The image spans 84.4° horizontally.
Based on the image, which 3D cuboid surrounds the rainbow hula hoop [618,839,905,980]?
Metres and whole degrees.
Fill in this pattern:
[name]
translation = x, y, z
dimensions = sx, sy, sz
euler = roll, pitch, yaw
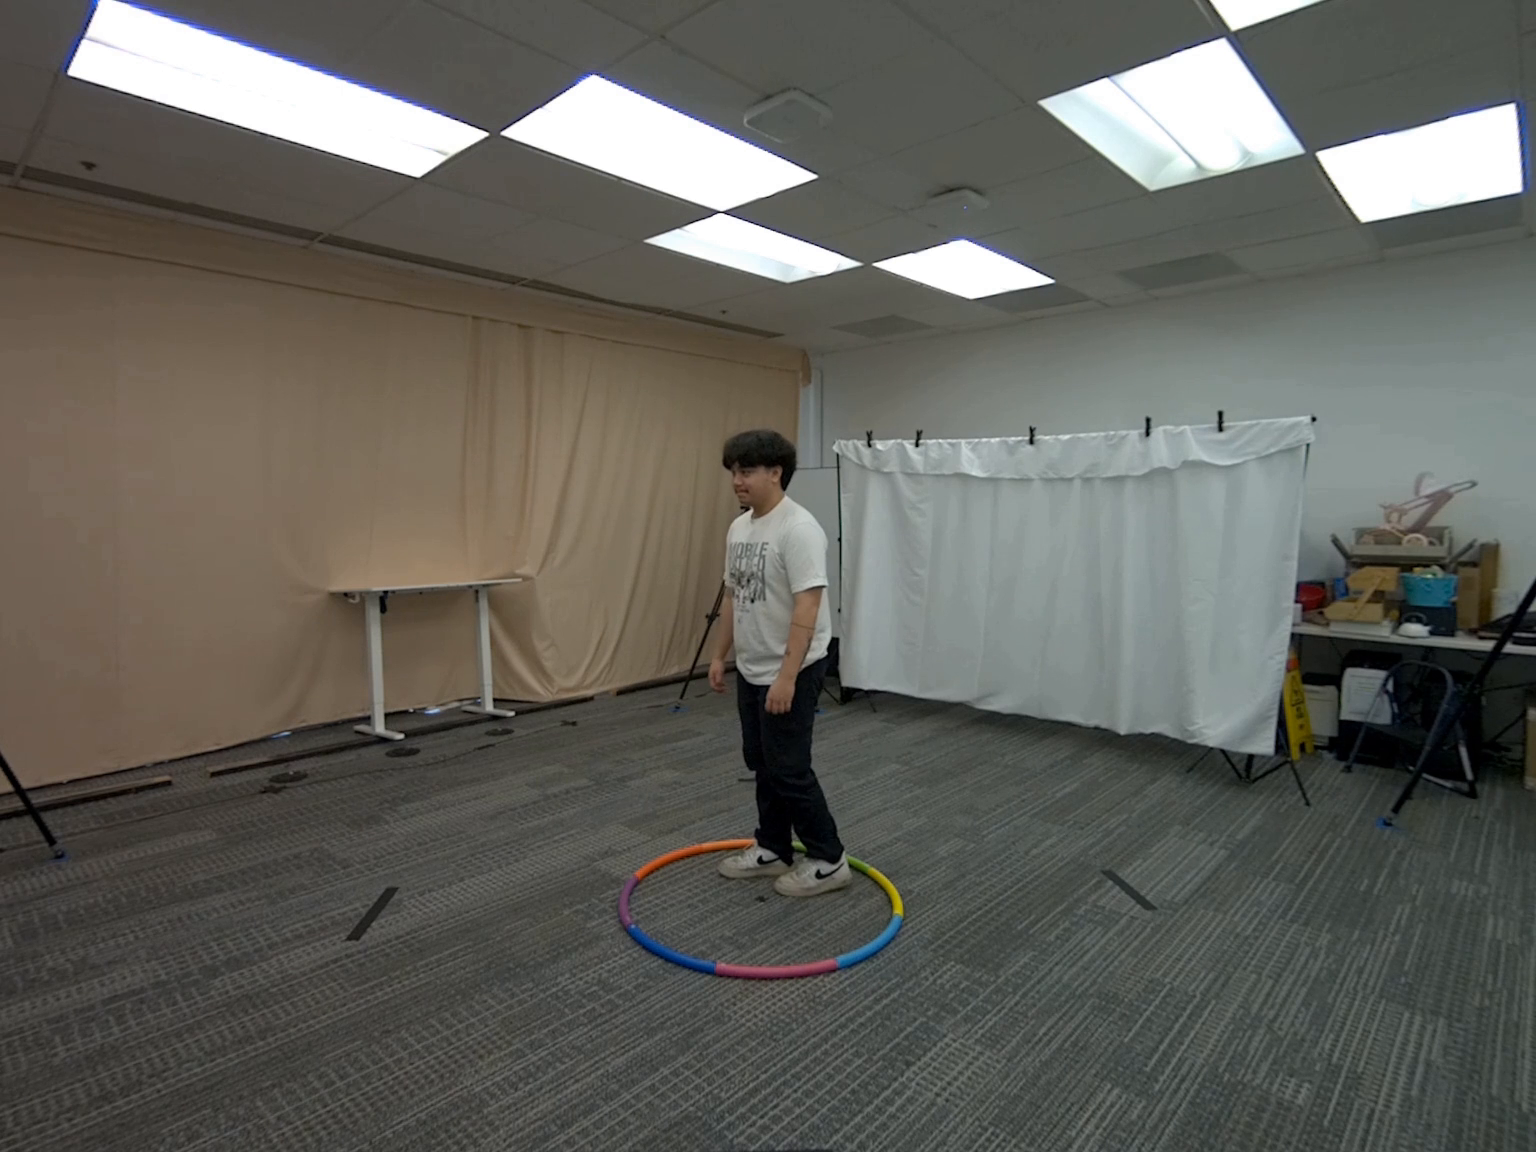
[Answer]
[rainbow hula hoop]
translation = -0.026, 1.123, 2.954
dimensions = 0.985, 0.051, 0.989
euler = 0, 5, -2
